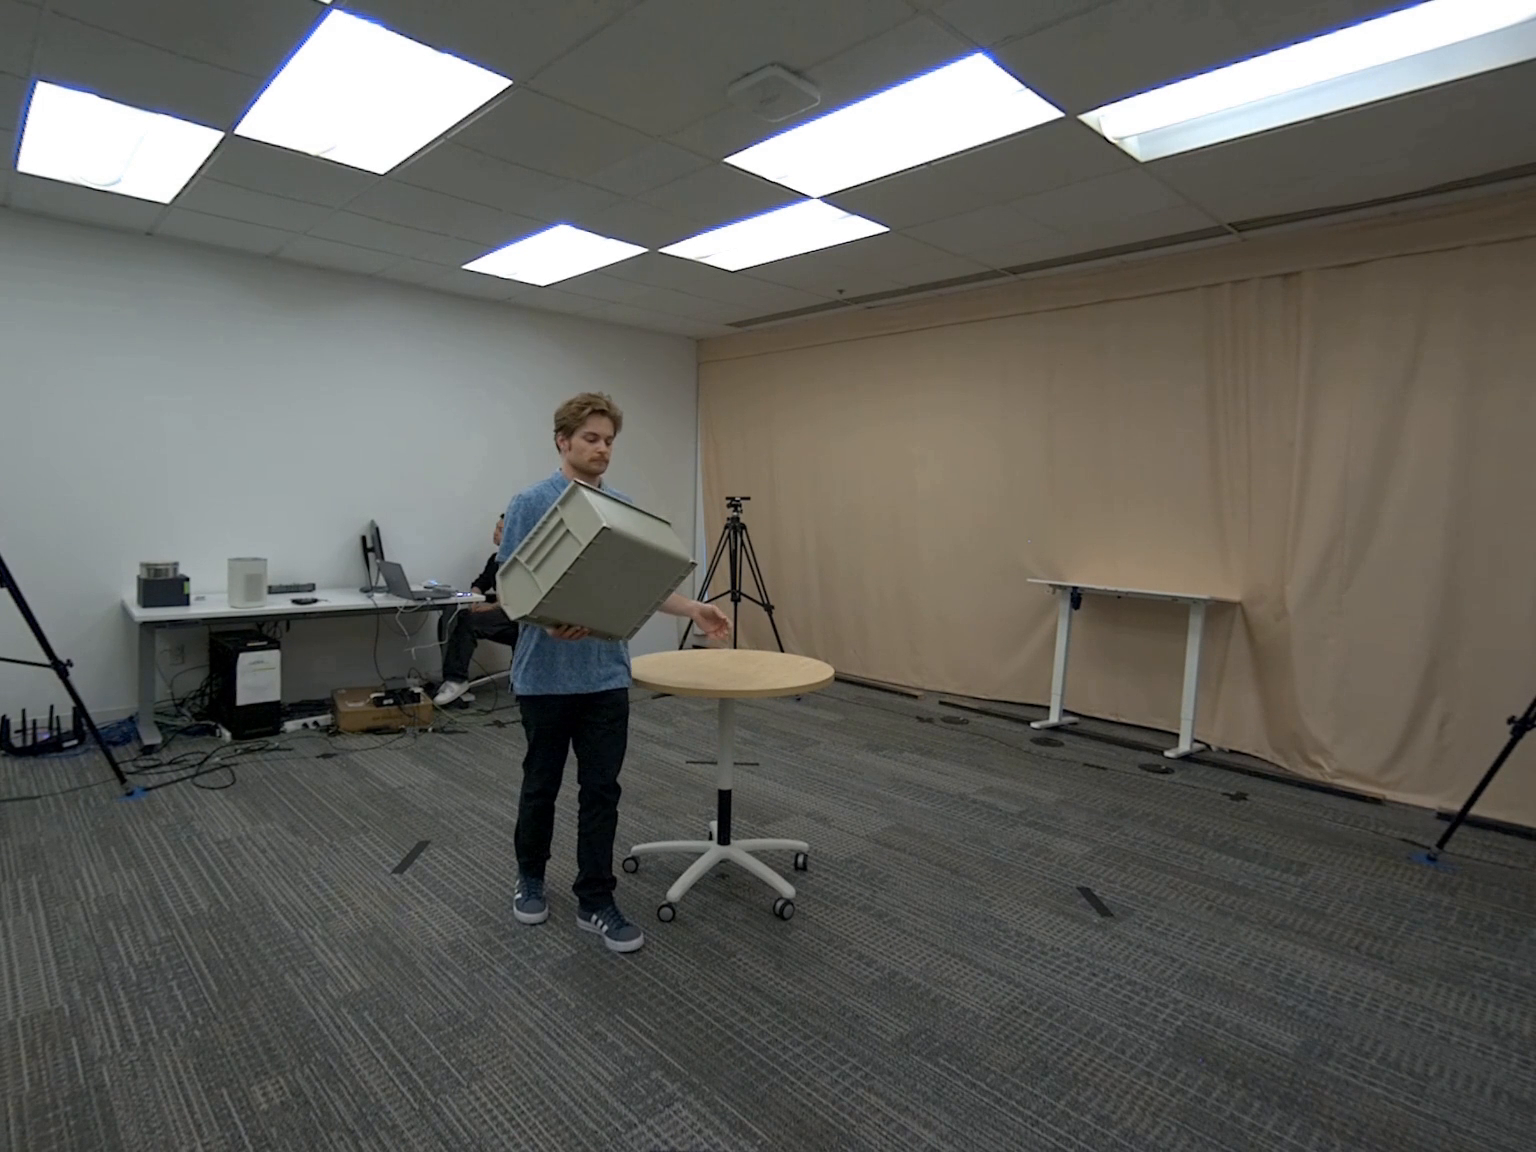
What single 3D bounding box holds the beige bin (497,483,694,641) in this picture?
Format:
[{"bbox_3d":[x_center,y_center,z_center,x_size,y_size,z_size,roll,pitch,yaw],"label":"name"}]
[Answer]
[{"bbox_3d":[-0.474,-0.006,2.309,0.194,0.377,0.410,52,15,31],"label":"beige bin"}]
